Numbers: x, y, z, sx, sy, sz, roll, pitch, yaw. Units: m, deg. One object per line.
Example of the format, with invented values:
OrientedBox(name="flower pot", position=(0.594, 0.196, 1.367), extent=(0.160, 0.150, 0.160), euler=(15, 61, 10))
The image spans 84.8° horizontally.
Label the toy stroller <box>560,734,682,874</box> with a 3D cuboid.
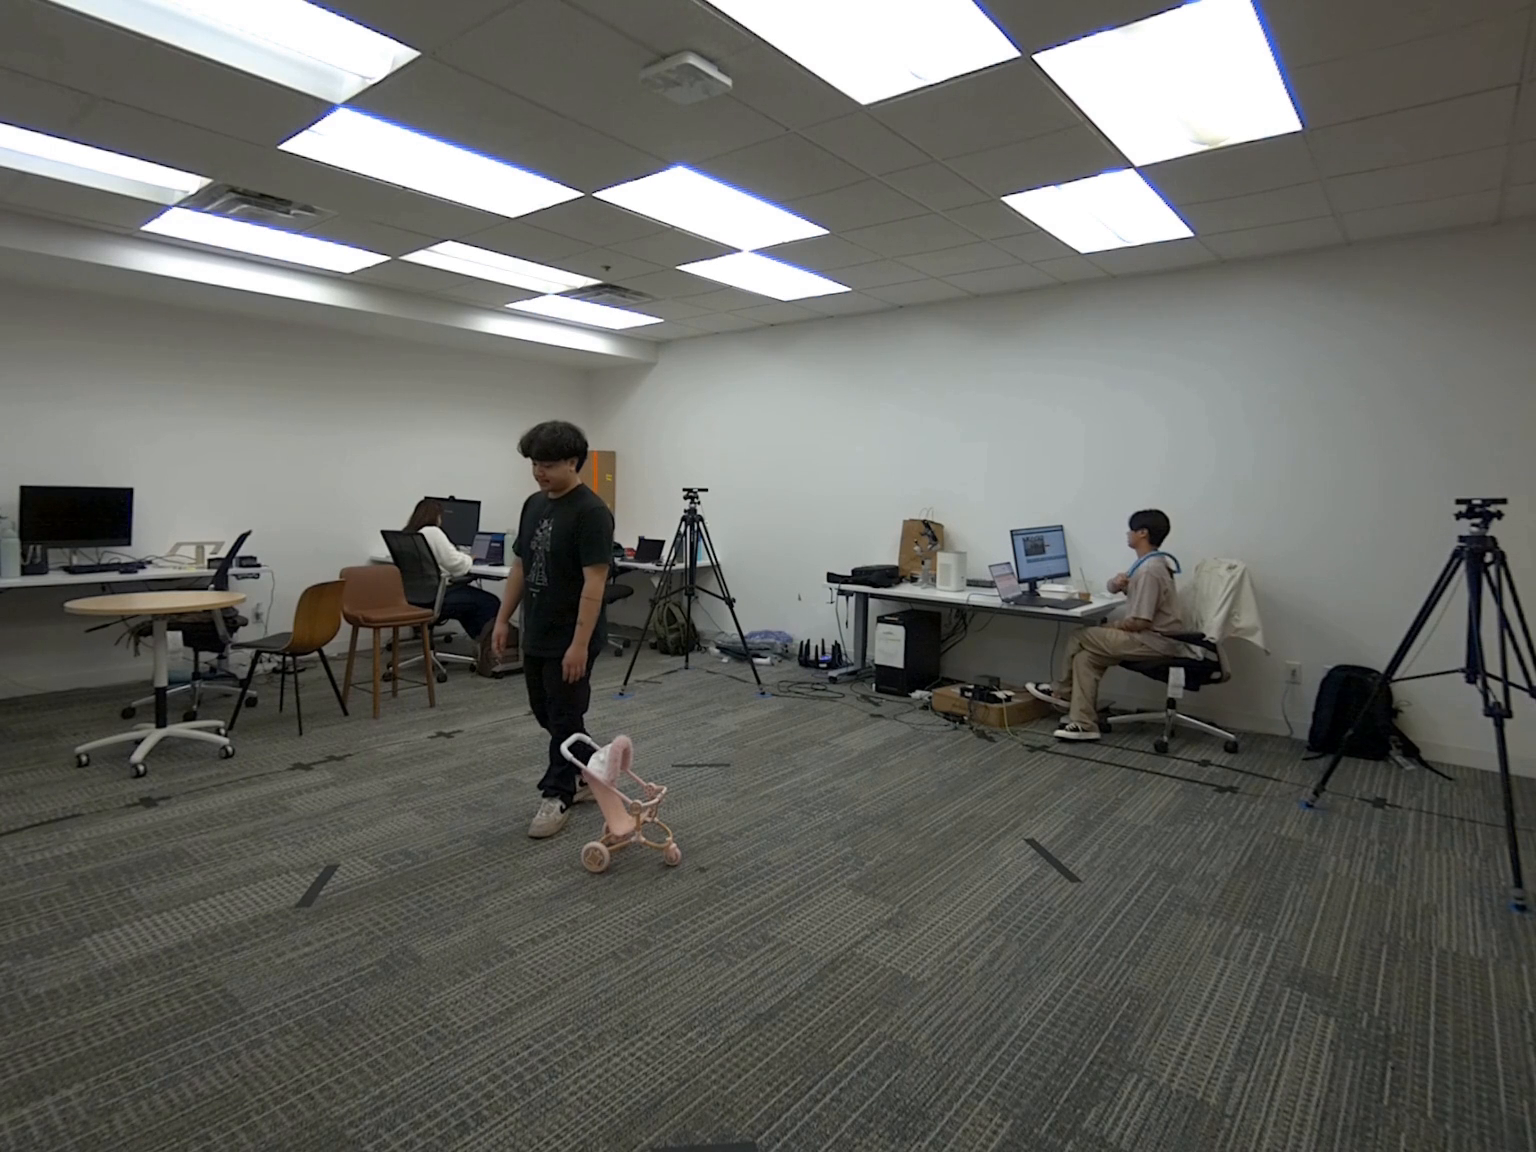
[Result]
OrientedBox(name="toy stroller", position=(-0.548, 0.833, 3.164), extent=(0.346, 0.535, 0.278), euler=(-13, 0, 15))
